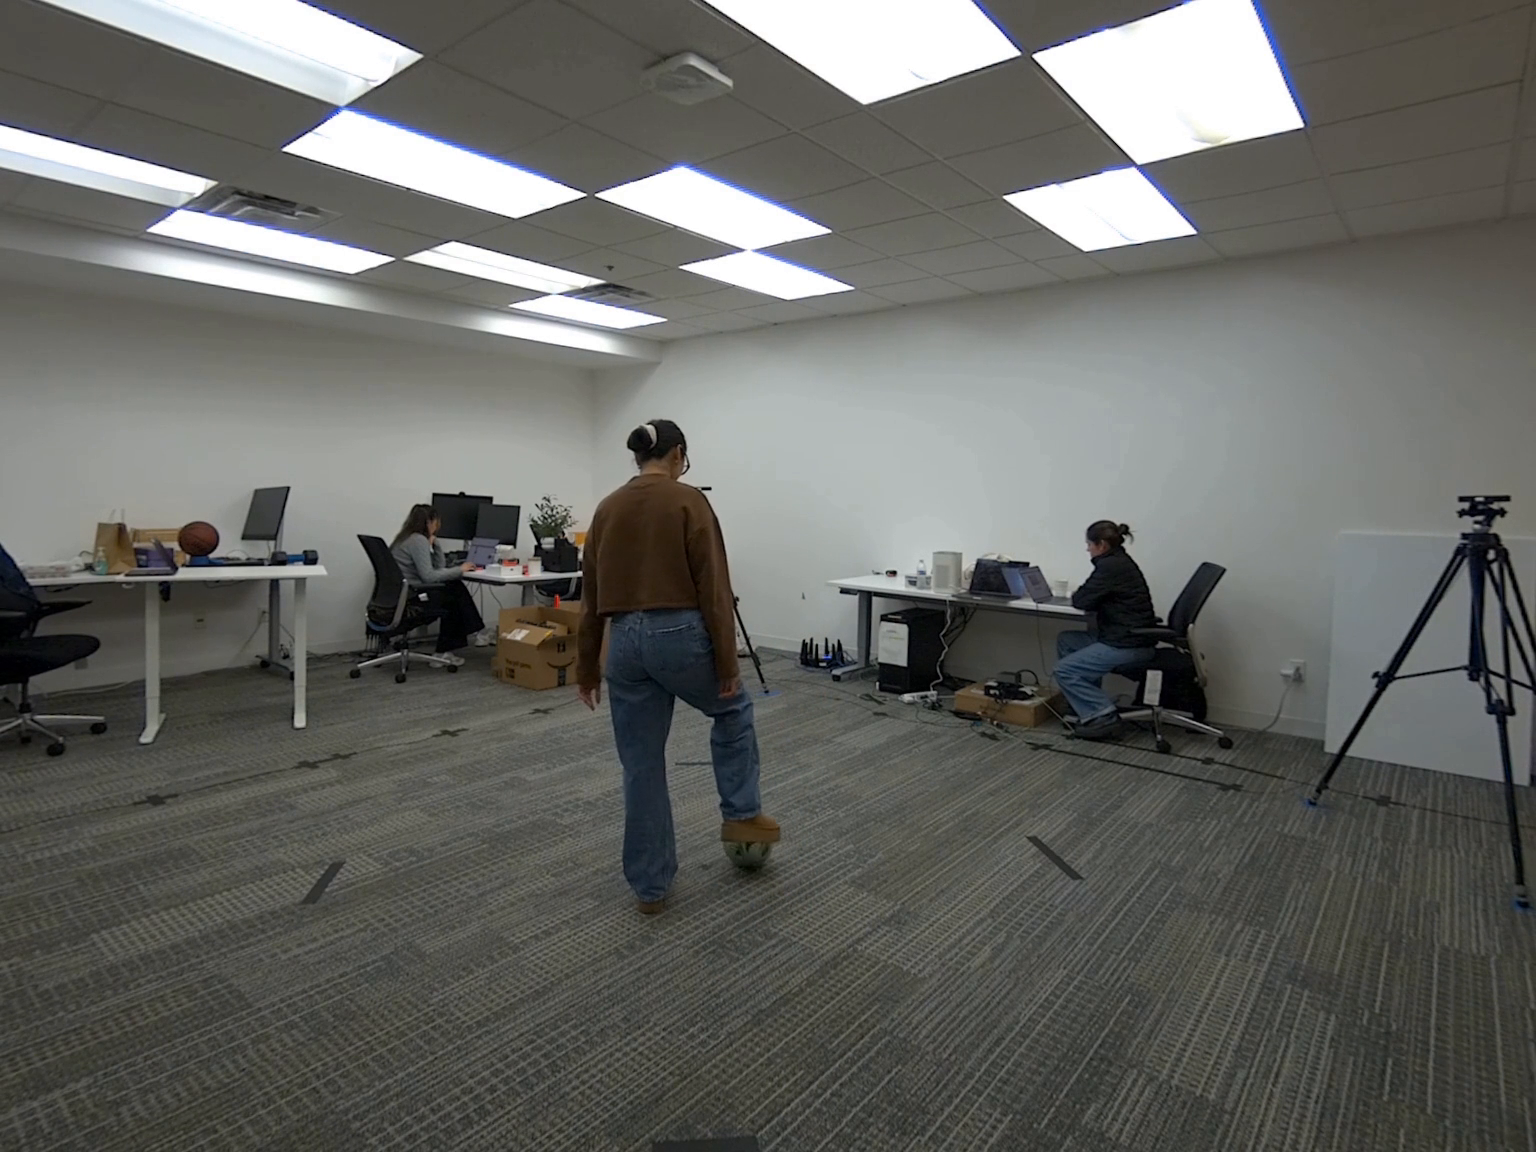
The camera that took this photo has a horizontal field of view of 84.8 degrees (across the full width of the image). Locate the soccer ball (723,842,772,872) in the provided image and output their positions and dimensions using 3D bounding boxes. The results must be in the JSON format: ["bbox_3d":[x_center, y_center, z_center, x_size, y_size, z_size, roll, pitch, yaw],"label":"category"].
[{"bbox_3d":[-0.090,0.972,3.141,0.187,0.187,0.188,1,4,-2],"label":"soccer ball"}]
